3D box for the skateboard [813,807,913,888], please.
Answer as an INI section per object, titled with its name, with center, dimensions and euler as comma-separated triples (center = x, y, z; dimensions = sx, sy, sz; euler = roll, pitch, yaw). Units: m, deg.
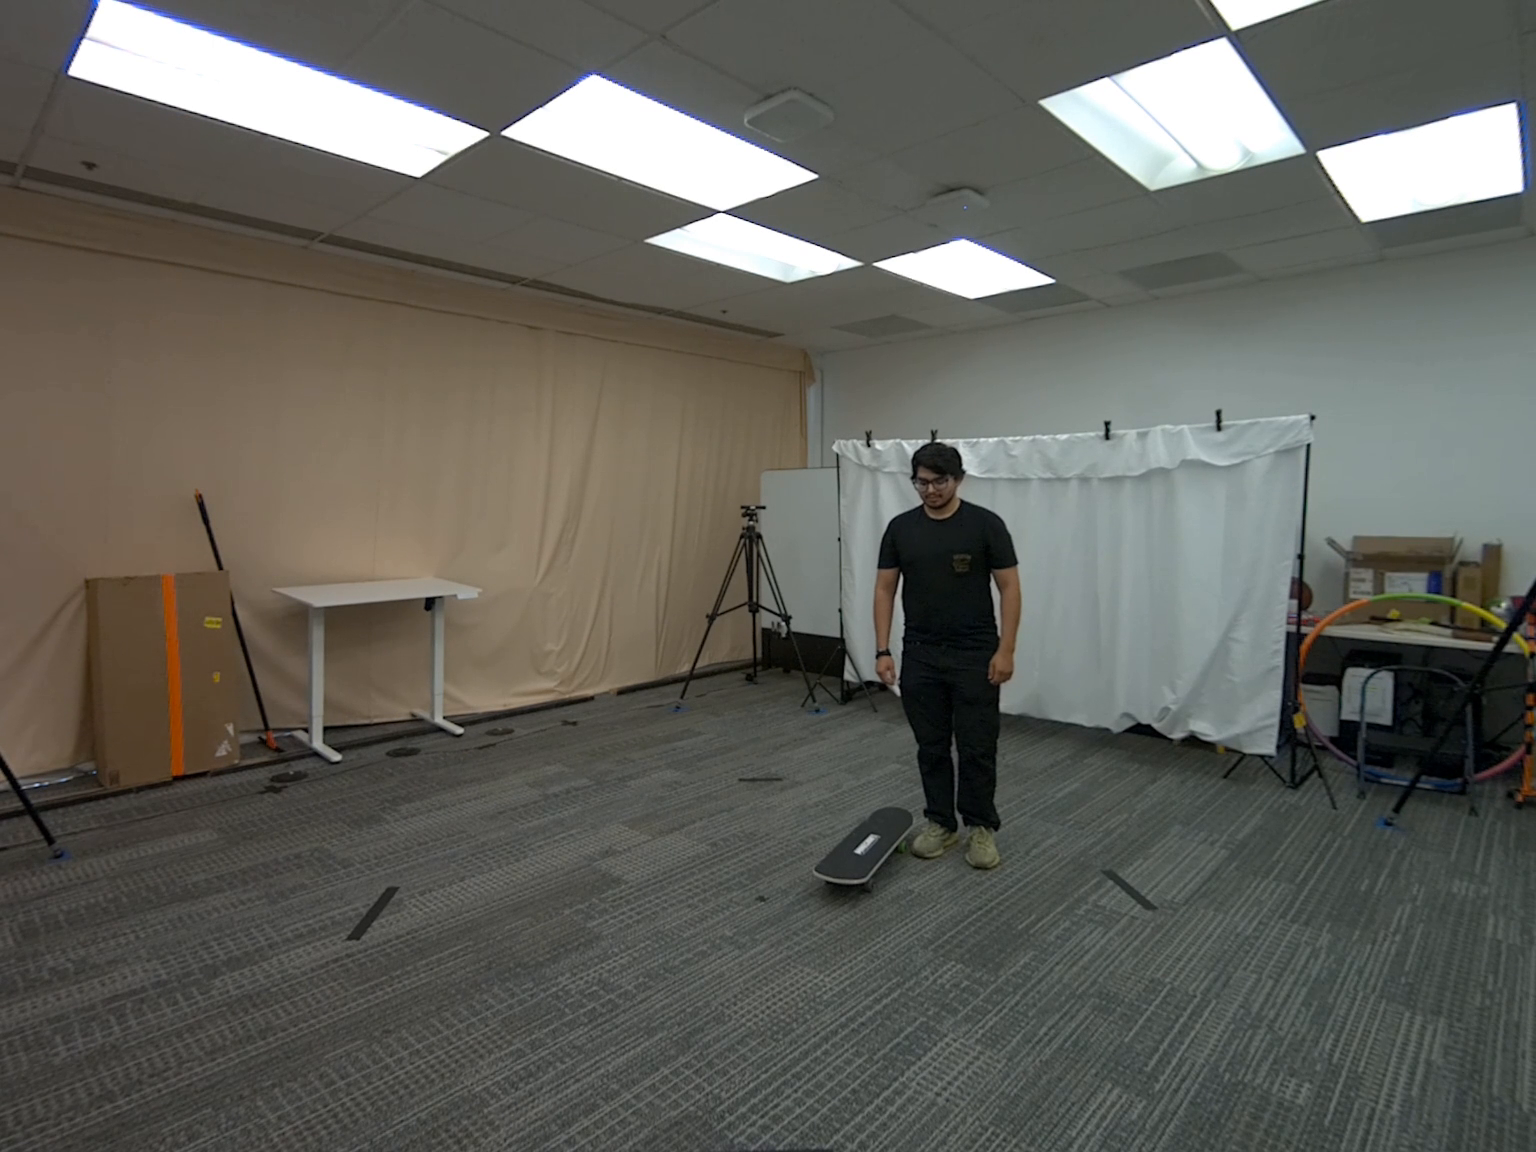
[skateboard]
center = 0.383, 1.063, 3.236
dimensions = 0.199, 0.110, 0.766
euler = 3, 5, 26
